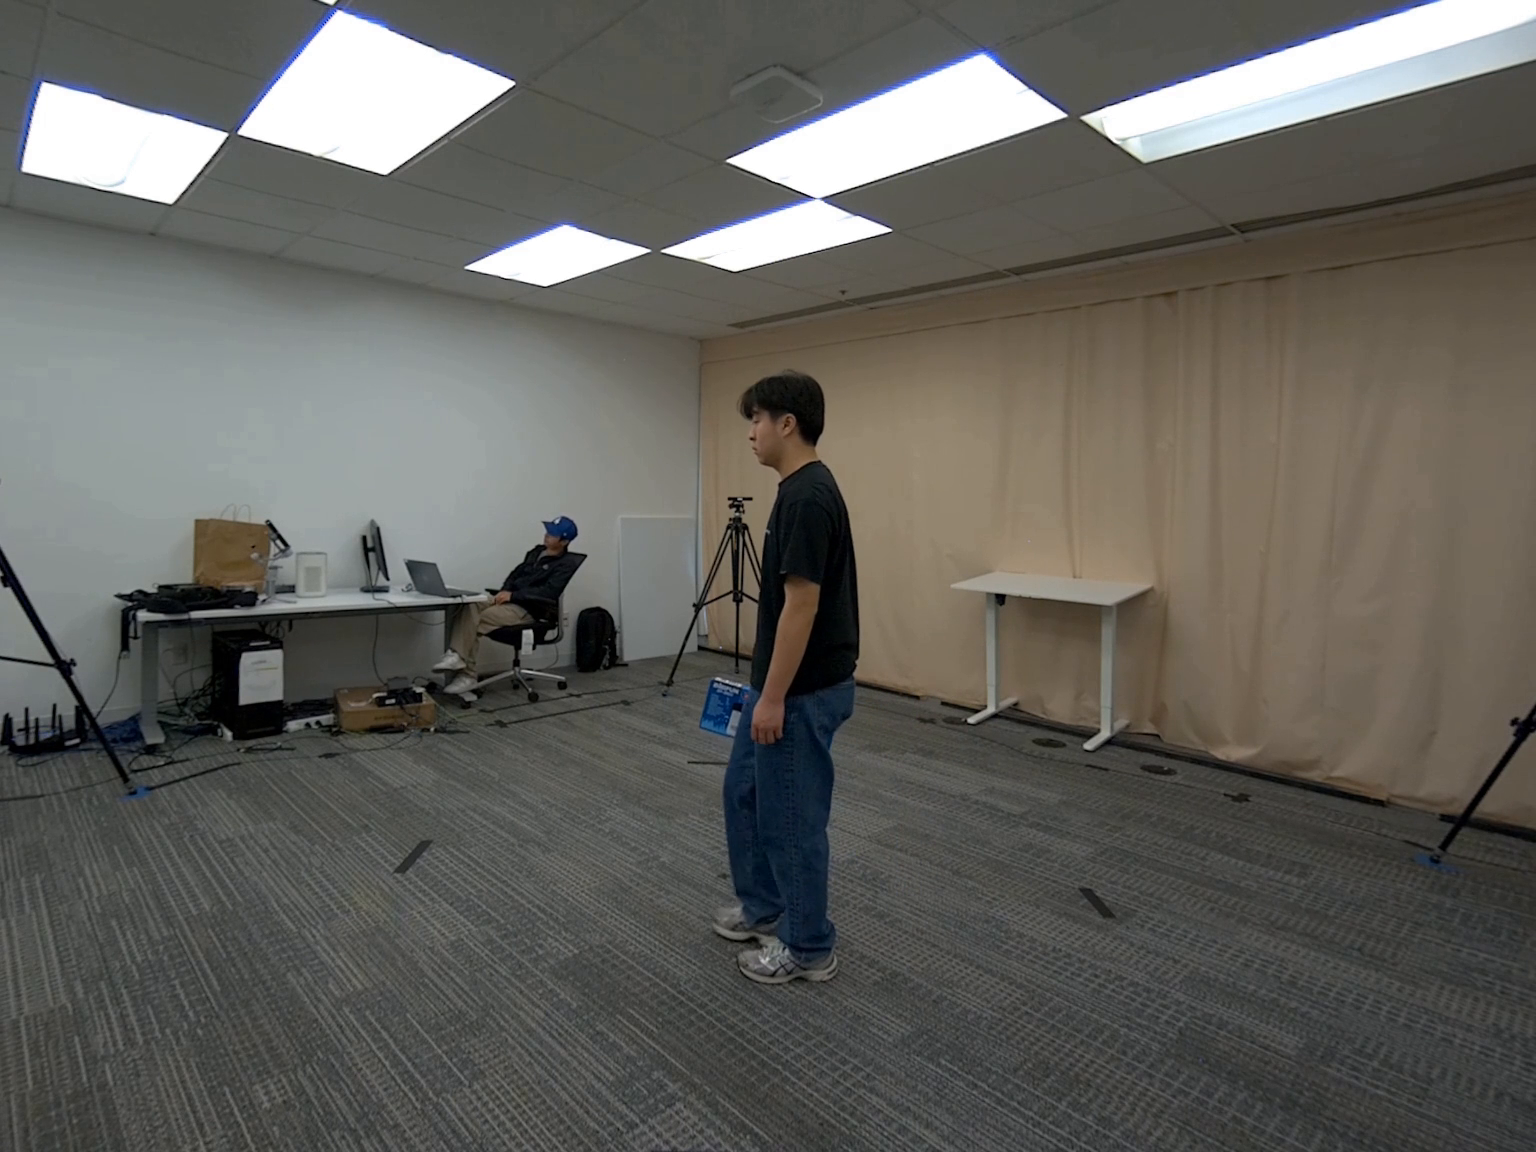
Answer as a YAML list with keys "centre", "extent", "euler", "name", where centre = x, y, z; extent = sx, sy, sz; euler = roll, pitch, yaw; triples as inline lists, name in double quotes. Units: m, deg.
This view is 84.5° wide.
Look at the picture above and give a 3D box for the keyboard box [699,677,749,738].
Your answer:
- centre: [0.006, 0.487, 2.800]
  extent: [0.441, 0.176, 0.058]
  euler: [15, 2, 10]
  name: "keyboard box"
